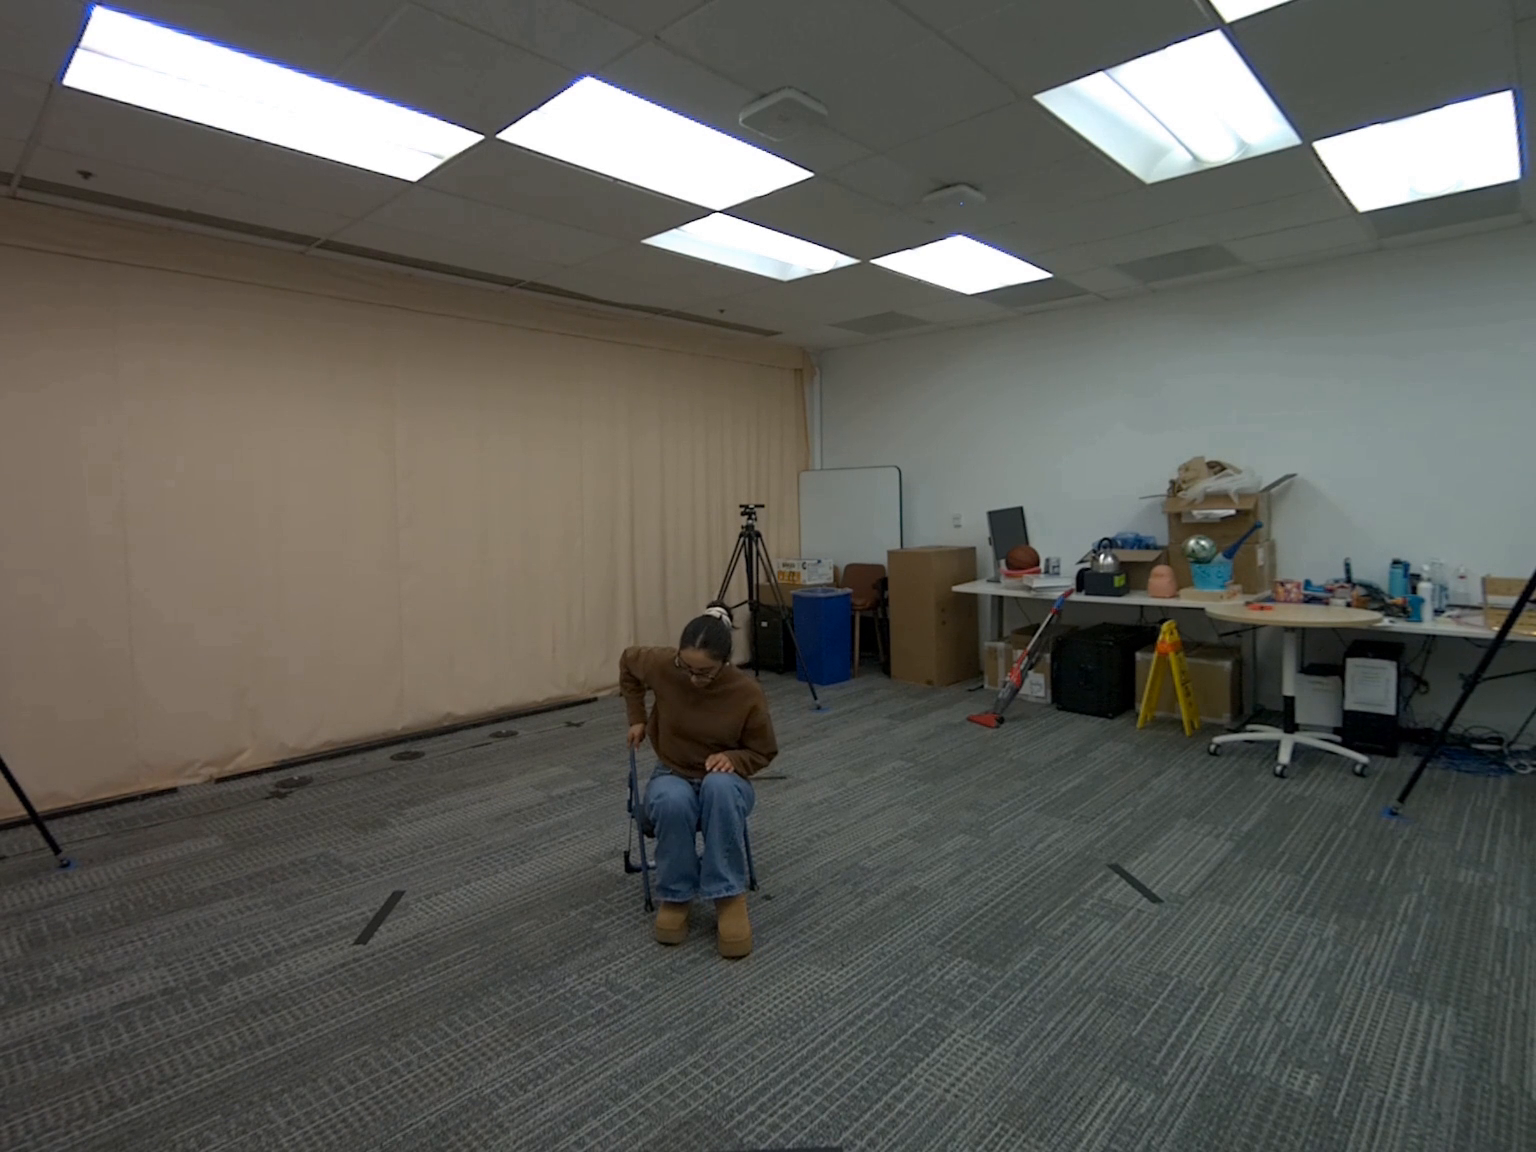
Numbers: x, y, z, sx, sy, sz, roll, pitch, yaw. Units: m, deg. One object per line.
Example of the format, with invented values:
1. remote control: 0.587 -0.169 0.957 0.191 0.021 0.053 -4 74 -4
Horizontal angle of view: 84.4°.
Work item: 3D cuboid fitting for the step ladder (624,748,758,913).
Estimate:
1. step ladder: -0.299 0.837 3.120 0.421 0.604 0.358 -3 4 -22
